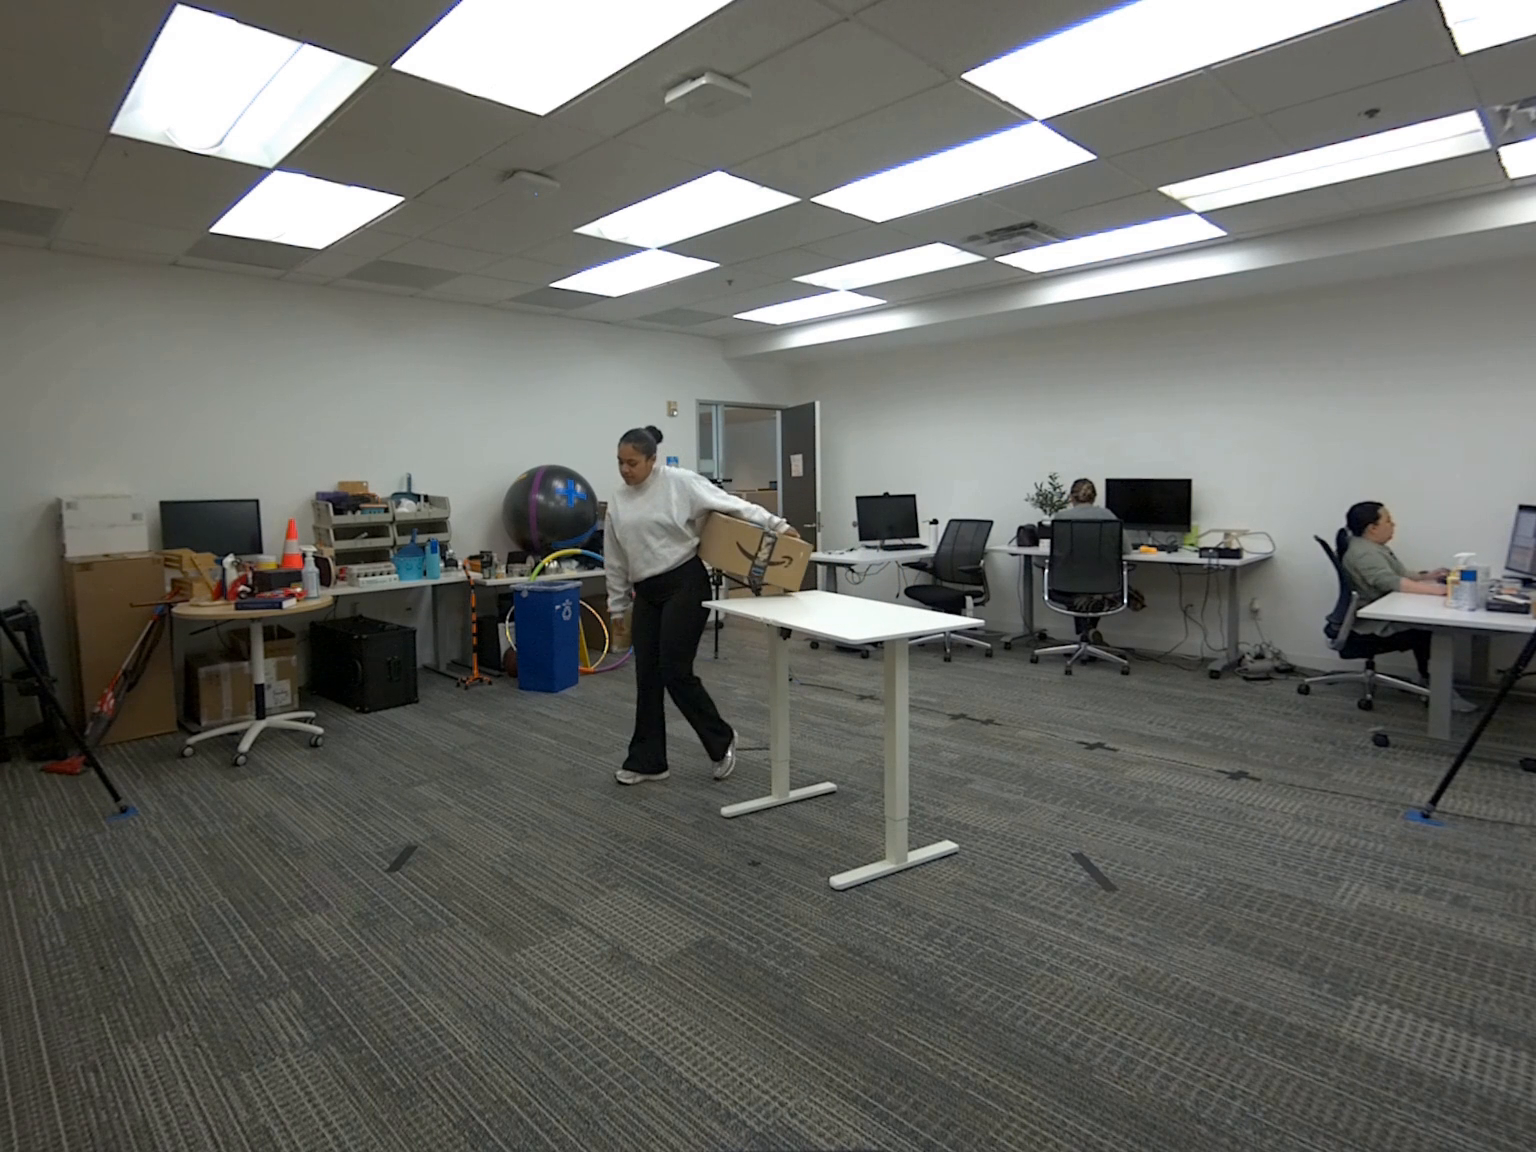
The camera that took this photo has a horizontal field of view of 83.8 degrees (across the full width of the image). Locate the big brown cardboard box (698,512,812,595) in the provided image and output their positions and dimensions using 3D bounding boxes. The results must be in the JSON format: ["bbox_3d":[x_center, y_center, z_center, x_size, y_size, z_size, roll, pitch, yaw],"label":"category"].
[{"bbox_3d":[-0.089,-0.134,3.899,0.410,0.232,0.600,17,5,-15],"label":"big brown cardboard box"}]
